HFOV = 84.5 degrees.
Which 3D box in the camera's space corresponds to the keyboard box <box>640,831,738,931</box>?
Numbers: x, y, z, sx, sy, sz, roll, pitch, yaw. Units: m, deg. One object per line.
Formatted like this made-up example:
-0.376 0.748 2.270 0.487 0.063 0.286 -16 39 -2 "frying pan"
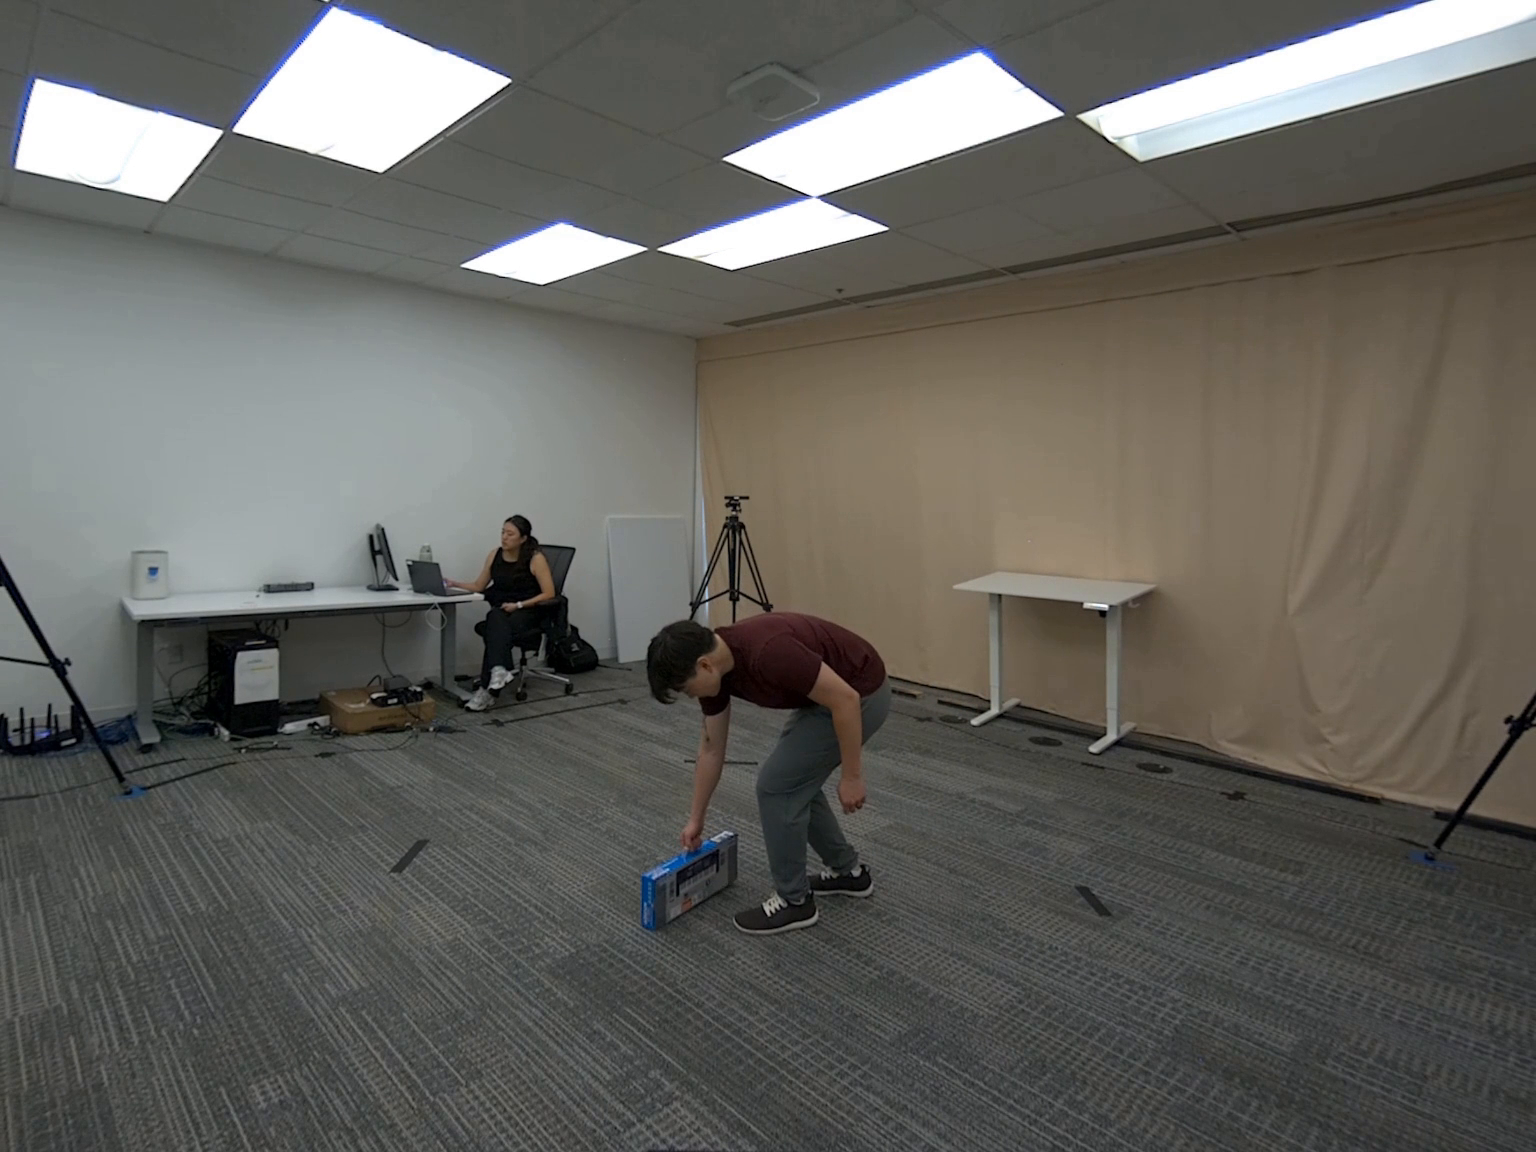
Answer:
-0.261 1.023 2.866 0.060 0.175 0.428 4 7 36 "keyboard box"
